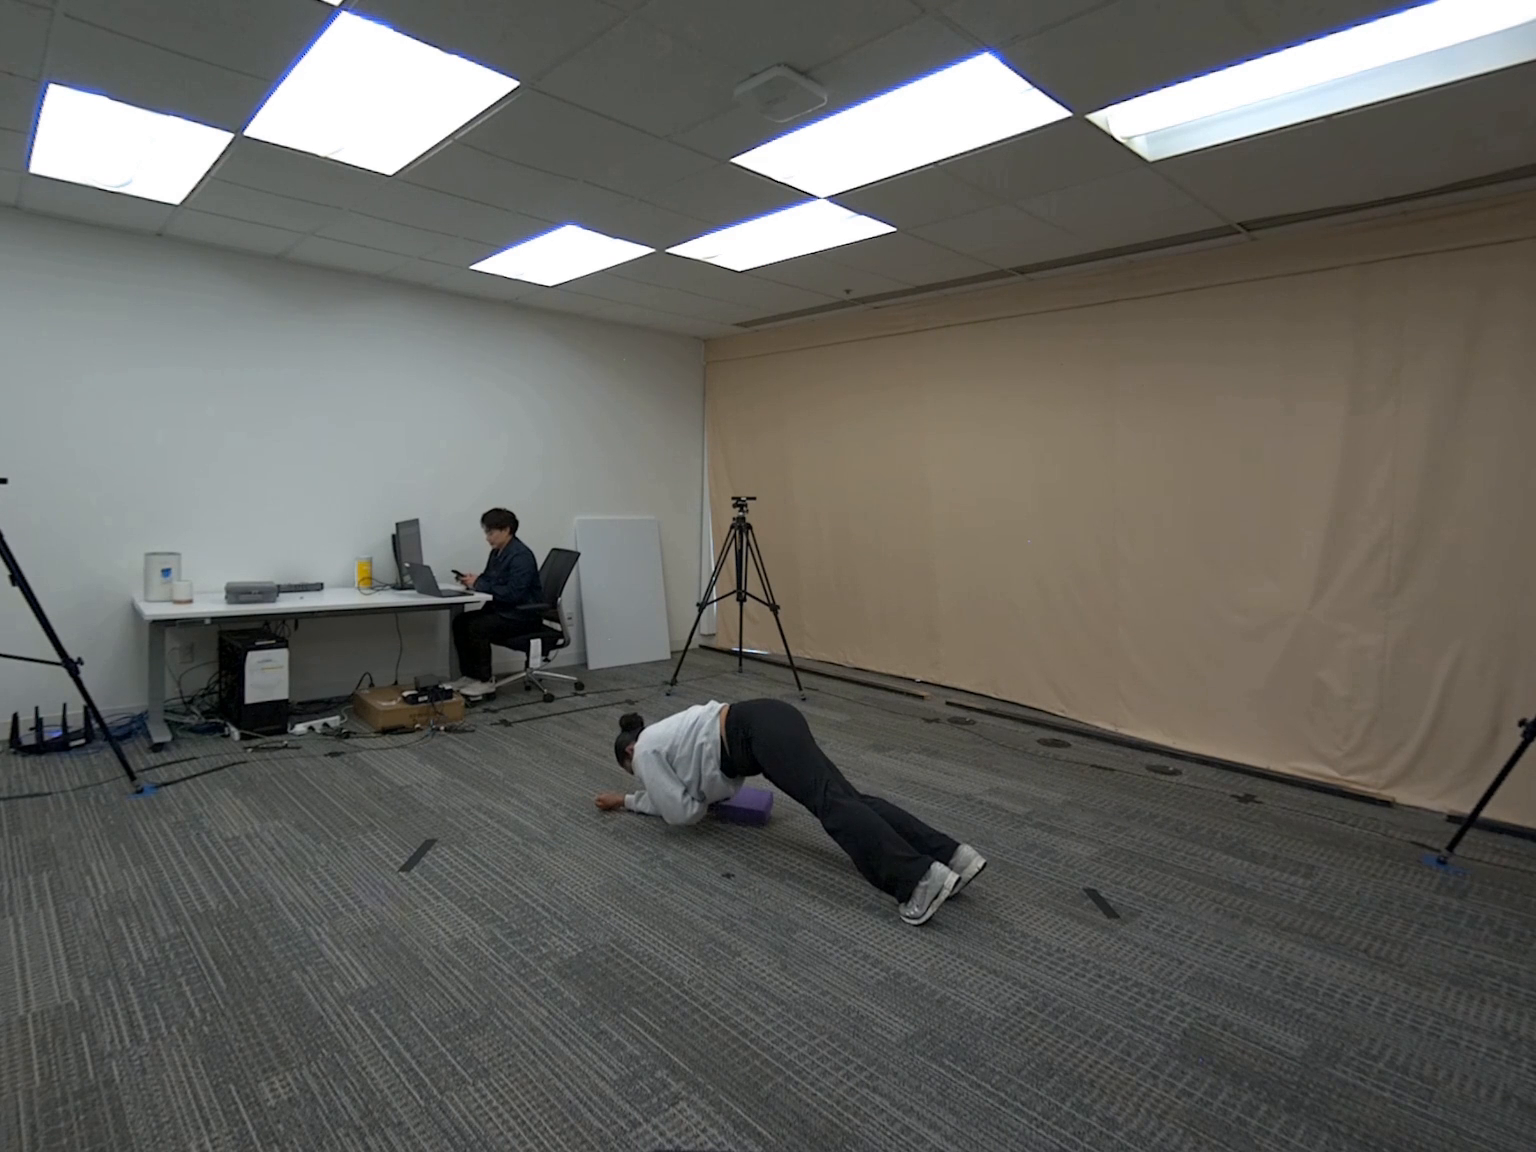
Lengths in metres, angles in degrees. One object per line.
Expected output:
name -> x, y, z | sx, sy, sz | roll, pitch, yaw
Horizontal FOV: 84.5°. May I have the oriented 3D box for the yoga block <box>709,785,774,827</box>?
yoga block -> -0.123, 0.998, 3.675 | 0.232, 0.075, 0.149 | 3, 24, 16
